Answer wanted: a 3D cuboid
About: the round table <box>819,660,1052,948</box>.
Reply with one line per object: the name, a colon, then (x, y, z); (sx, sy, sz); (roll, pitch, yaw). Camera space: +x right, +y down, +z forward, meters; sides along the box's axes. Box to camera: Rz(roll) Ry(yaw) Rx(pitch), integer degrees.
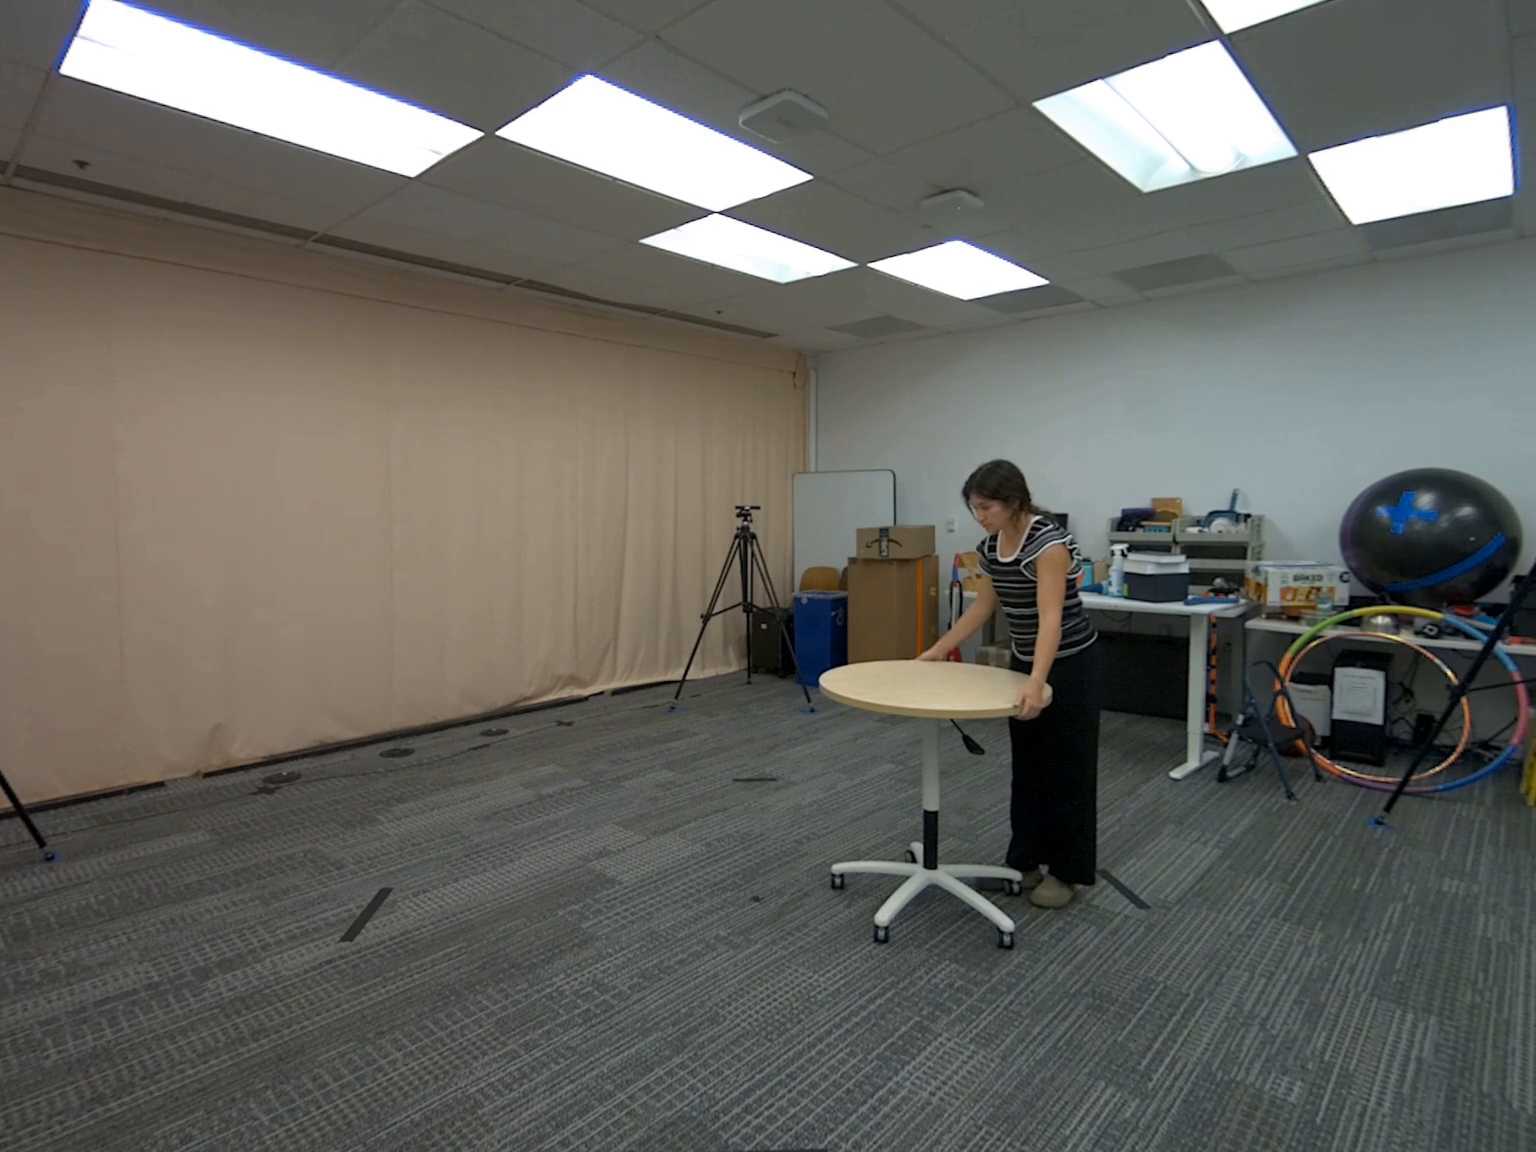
round table: (0.559, 0.759, 2.914); (0.763, 0.792, 0.767); (0, 4, -2)
